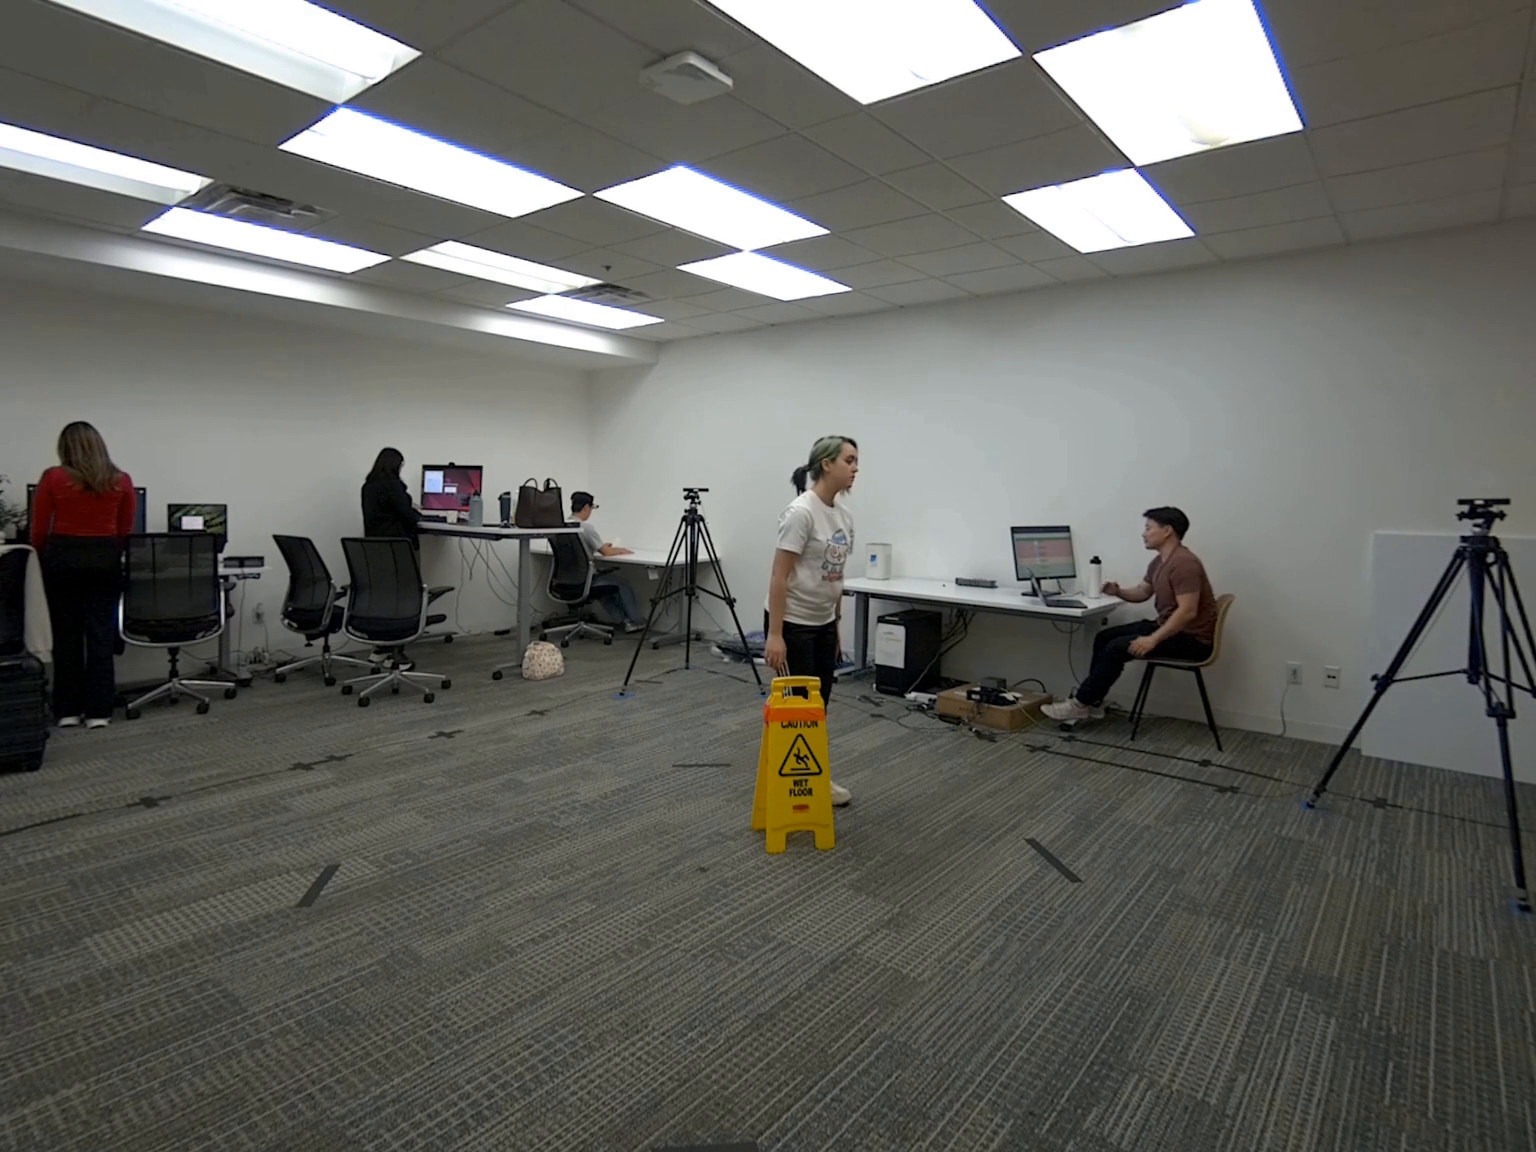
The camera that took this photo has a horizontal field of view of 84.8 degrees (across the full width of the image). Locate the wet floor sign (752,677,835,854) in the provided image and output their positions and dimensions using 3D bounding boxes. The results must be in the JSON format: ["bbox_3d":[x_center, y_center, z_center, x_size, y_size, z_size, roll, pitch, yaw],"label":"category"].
[{"bbox_3d":[0.099,0.726,3.387,0.279,0.644,0.294,1,3,-12],"label":"wet floor sign"}]
